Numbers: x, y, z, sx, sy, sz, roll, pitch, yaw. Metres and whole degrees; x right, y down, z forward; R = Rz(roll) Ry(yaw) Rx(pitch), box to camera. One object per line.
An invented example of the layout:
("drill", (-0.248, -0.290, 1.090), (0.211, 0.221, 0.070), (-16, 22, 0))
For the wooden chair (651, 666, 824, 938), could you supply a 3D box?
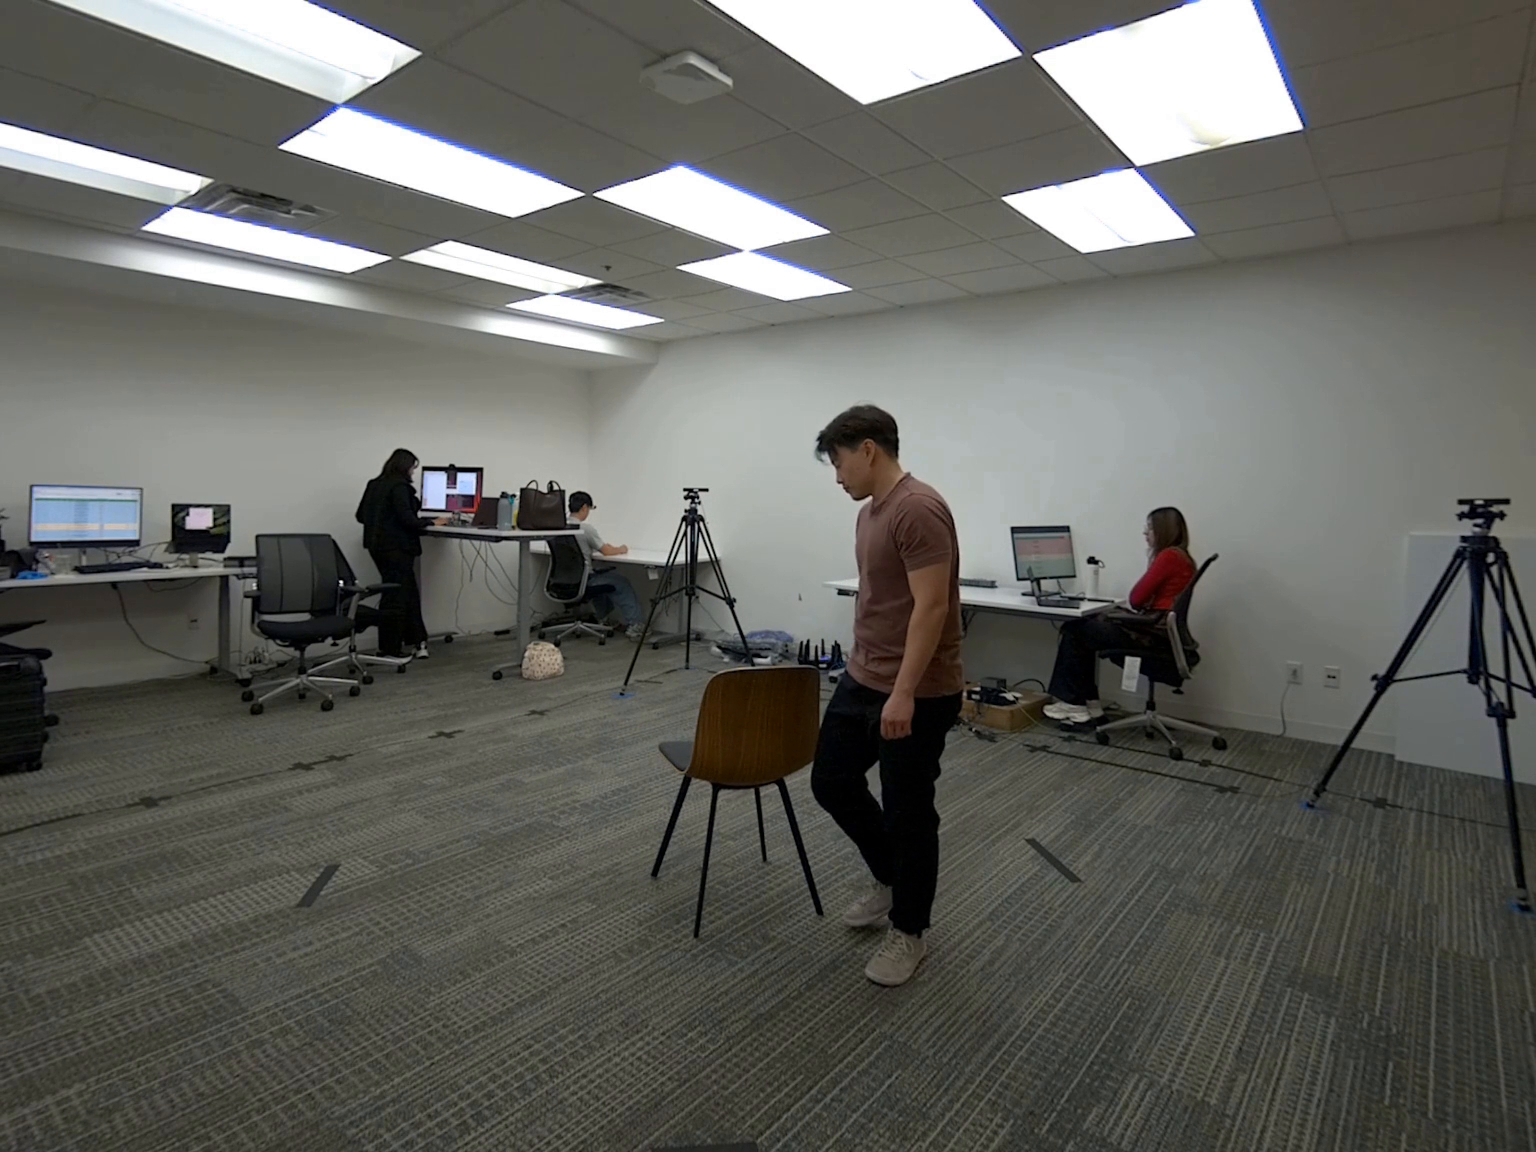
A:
("wooden chair", (-0.119, 0.667, 2.892), (0.467, 0.872, 0.538), (0, 8, -23))
